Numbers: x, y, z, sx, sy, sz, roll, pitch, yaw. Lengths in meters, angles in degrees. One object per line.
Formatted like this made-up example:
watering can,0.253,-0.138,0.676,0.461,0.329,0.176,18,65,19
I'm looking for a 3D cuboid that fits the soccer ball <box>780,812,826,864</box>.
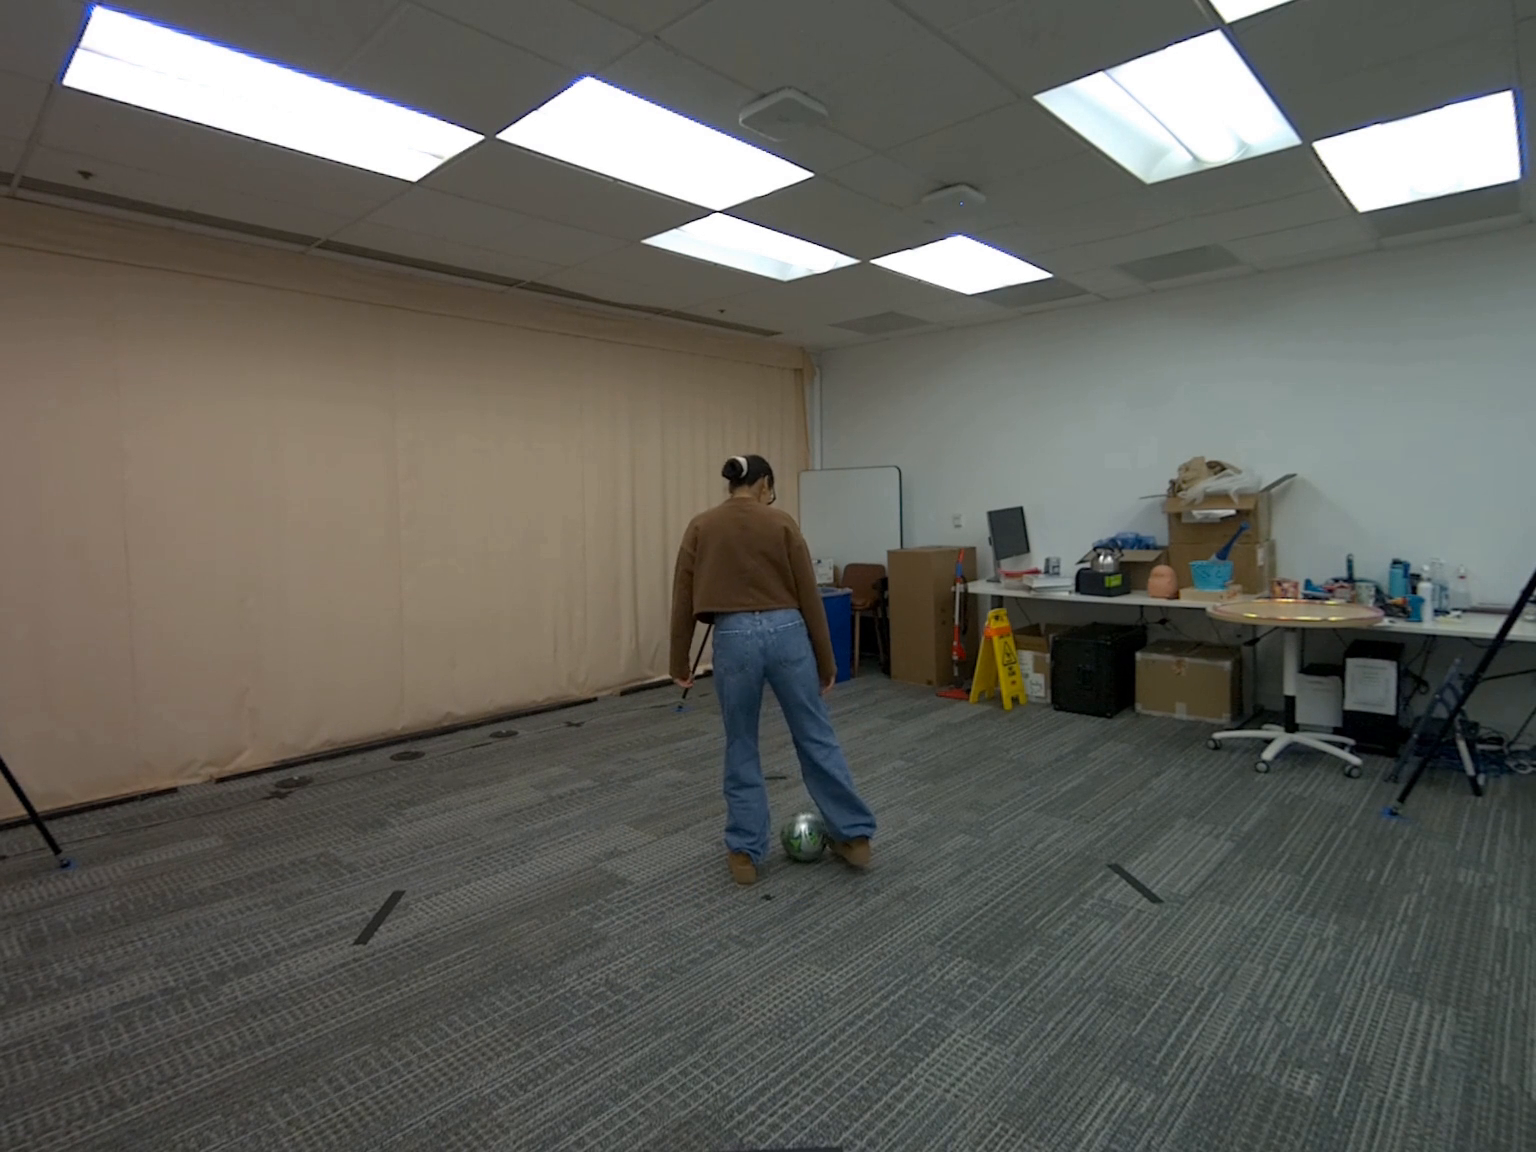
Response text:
soccer ball,0.146,1.021,3.298,0.187,0.187,0.188,-1,4,-2
